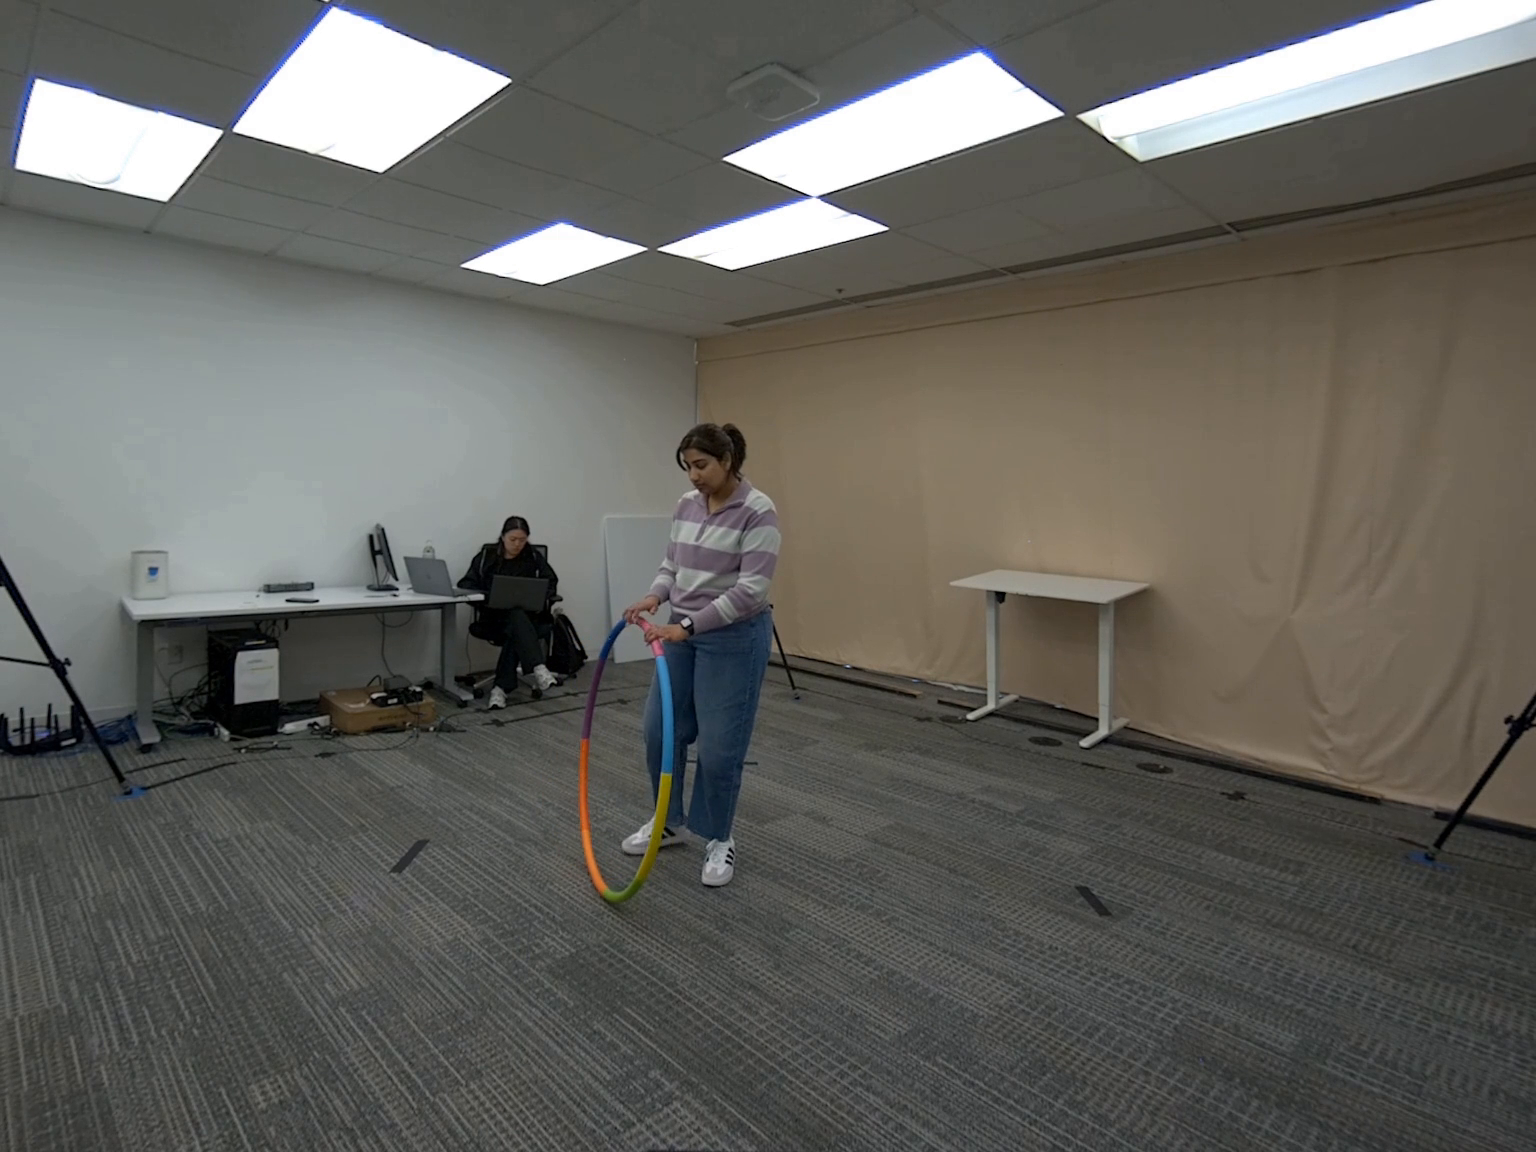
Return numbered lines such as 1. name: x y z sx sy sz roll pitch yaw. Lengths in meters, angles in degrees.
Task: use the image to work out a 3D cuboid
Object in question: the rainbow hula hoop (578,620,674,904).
1. rainbow hula hoop: -0.533 0.628 2.963 0.050 0.985 1.005 7 2 -25
